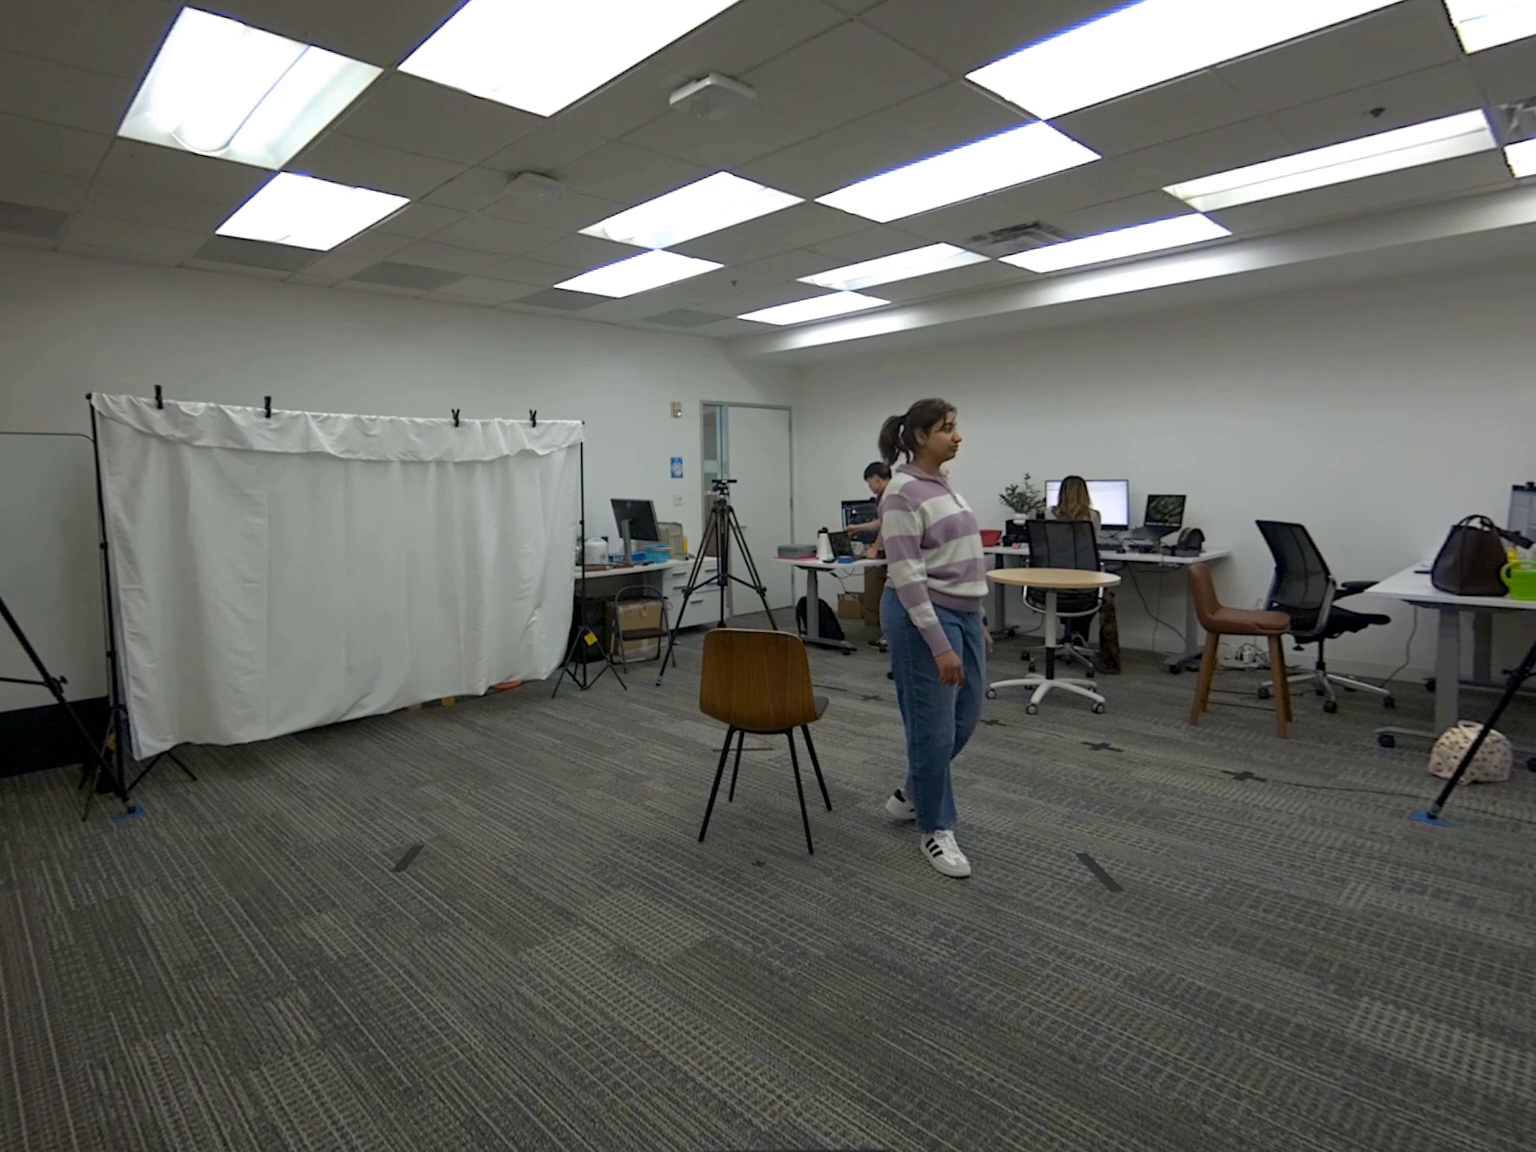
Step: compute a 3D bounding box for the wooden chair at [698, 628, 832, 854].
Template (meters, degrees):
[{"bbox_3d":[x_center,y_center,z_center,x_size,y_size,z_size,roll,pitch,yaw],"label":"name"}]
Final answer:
[{"bbox_3d":[-0.003,0.584,3.431,0.485,0.871,0.519,0,8,15],"label":"wooden chair"}]
